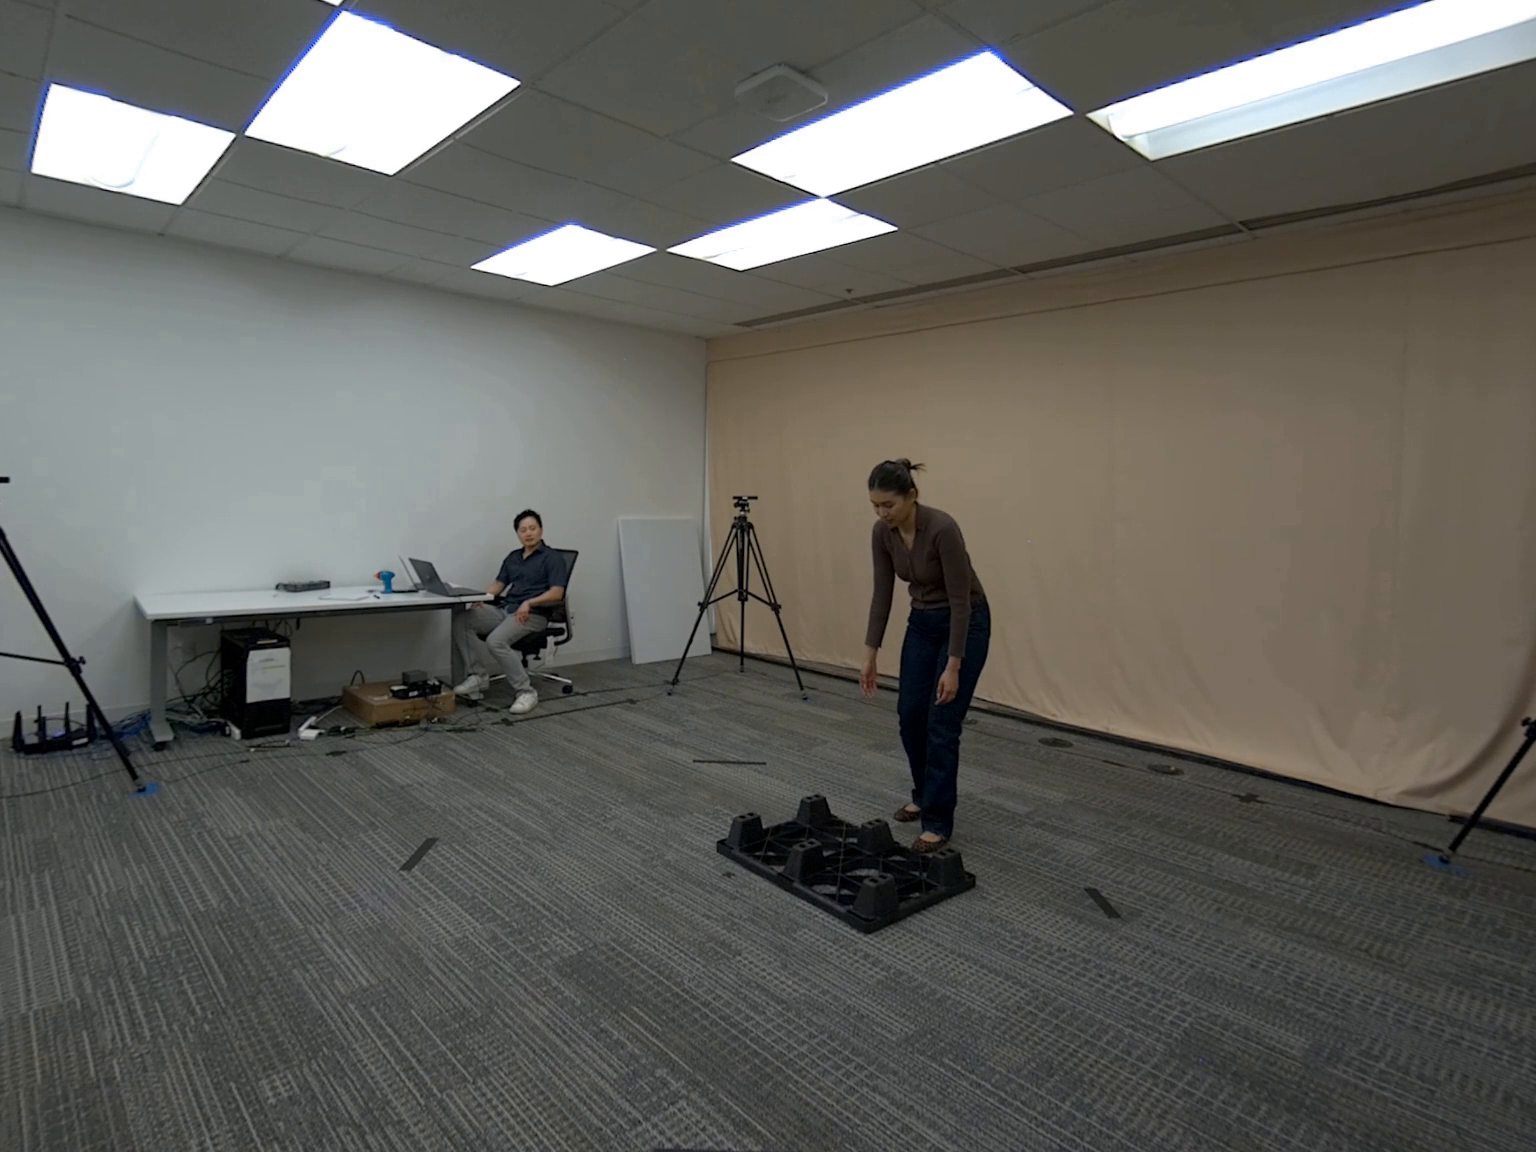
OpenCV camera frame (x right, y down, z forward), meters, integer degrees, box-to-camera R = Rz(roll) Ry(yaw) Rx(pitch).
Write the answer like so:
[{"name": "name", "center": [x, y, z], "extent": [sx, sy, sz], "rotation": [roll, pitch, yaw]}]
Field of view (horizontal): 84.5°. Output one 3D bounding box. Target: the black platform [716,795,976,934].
[{"name": "black platform", "center": [0.265, 1.041, 3.180], "extent": [0.591, 0.143, 0.826], "rotation": [-2, 6, -41]}]
